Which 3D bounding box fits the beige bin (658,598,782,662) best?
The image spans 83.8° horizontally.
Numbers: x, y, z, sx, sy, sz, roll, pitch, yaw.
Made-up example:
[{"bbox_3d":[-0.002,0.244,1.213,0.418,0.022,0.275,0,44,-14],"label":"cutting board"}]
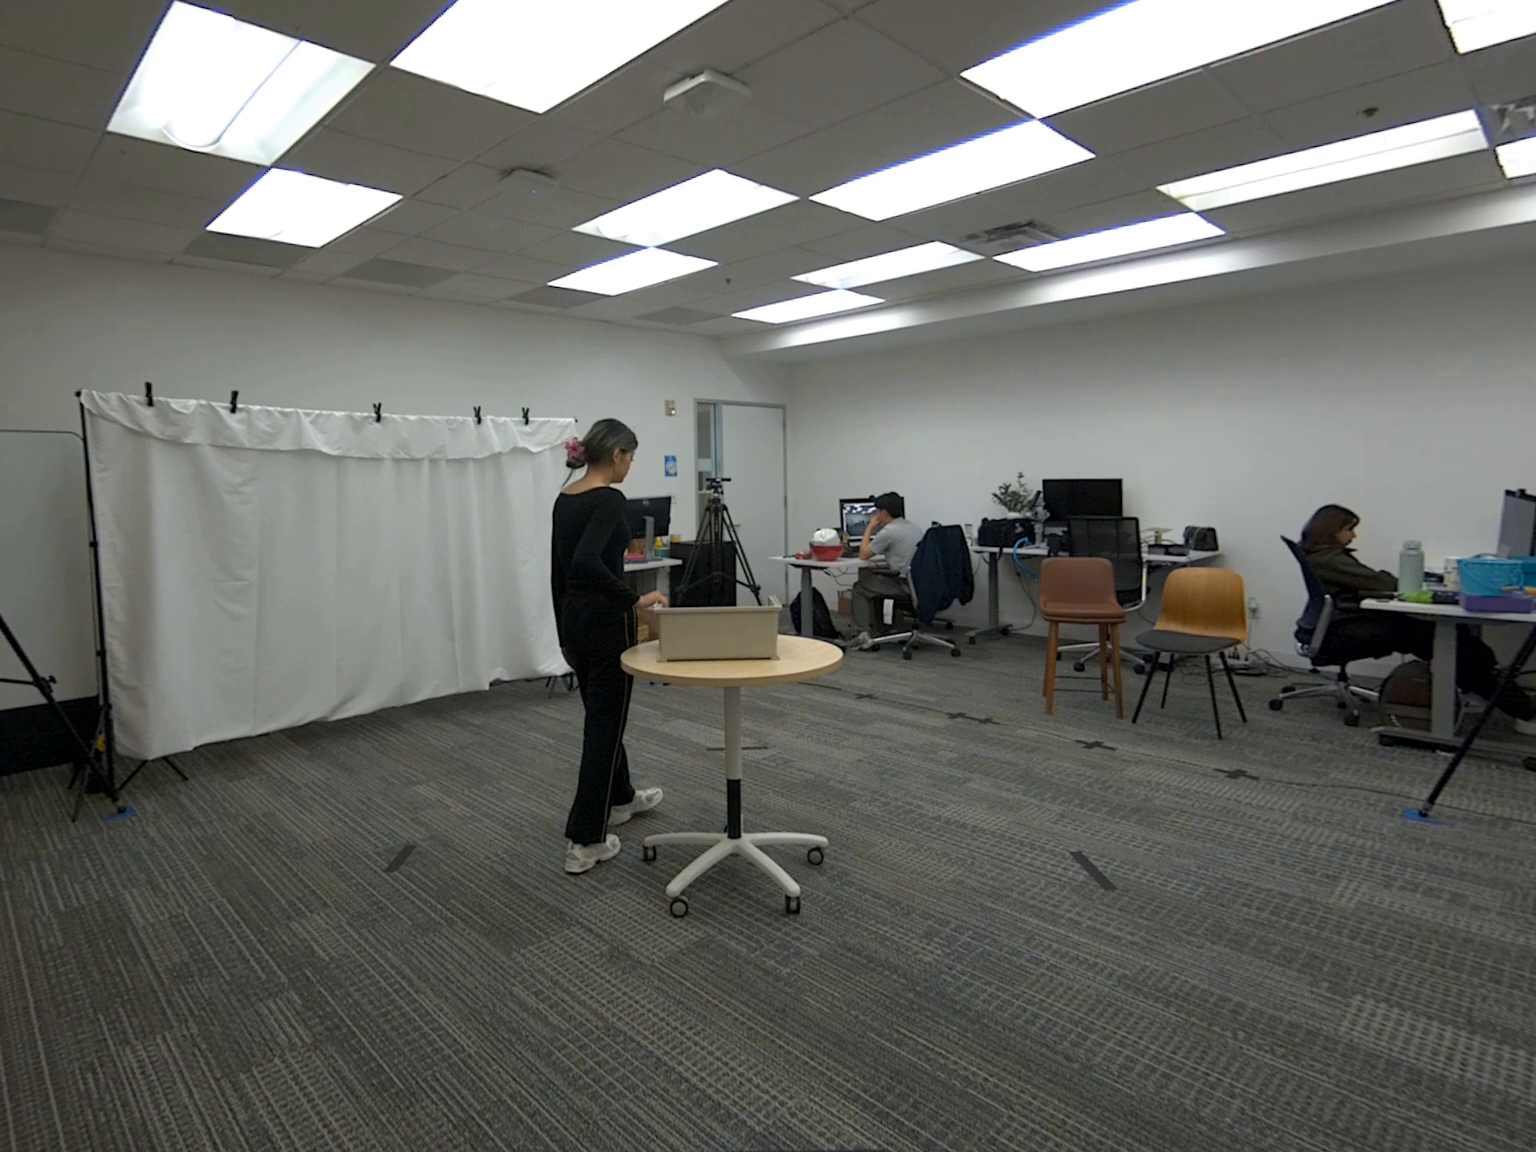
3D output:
[{"bbox_3d":[-0.183,0.169,3.013,0.421,0.188,0.381,-2,6,-5],"label":"beige bin"}]
